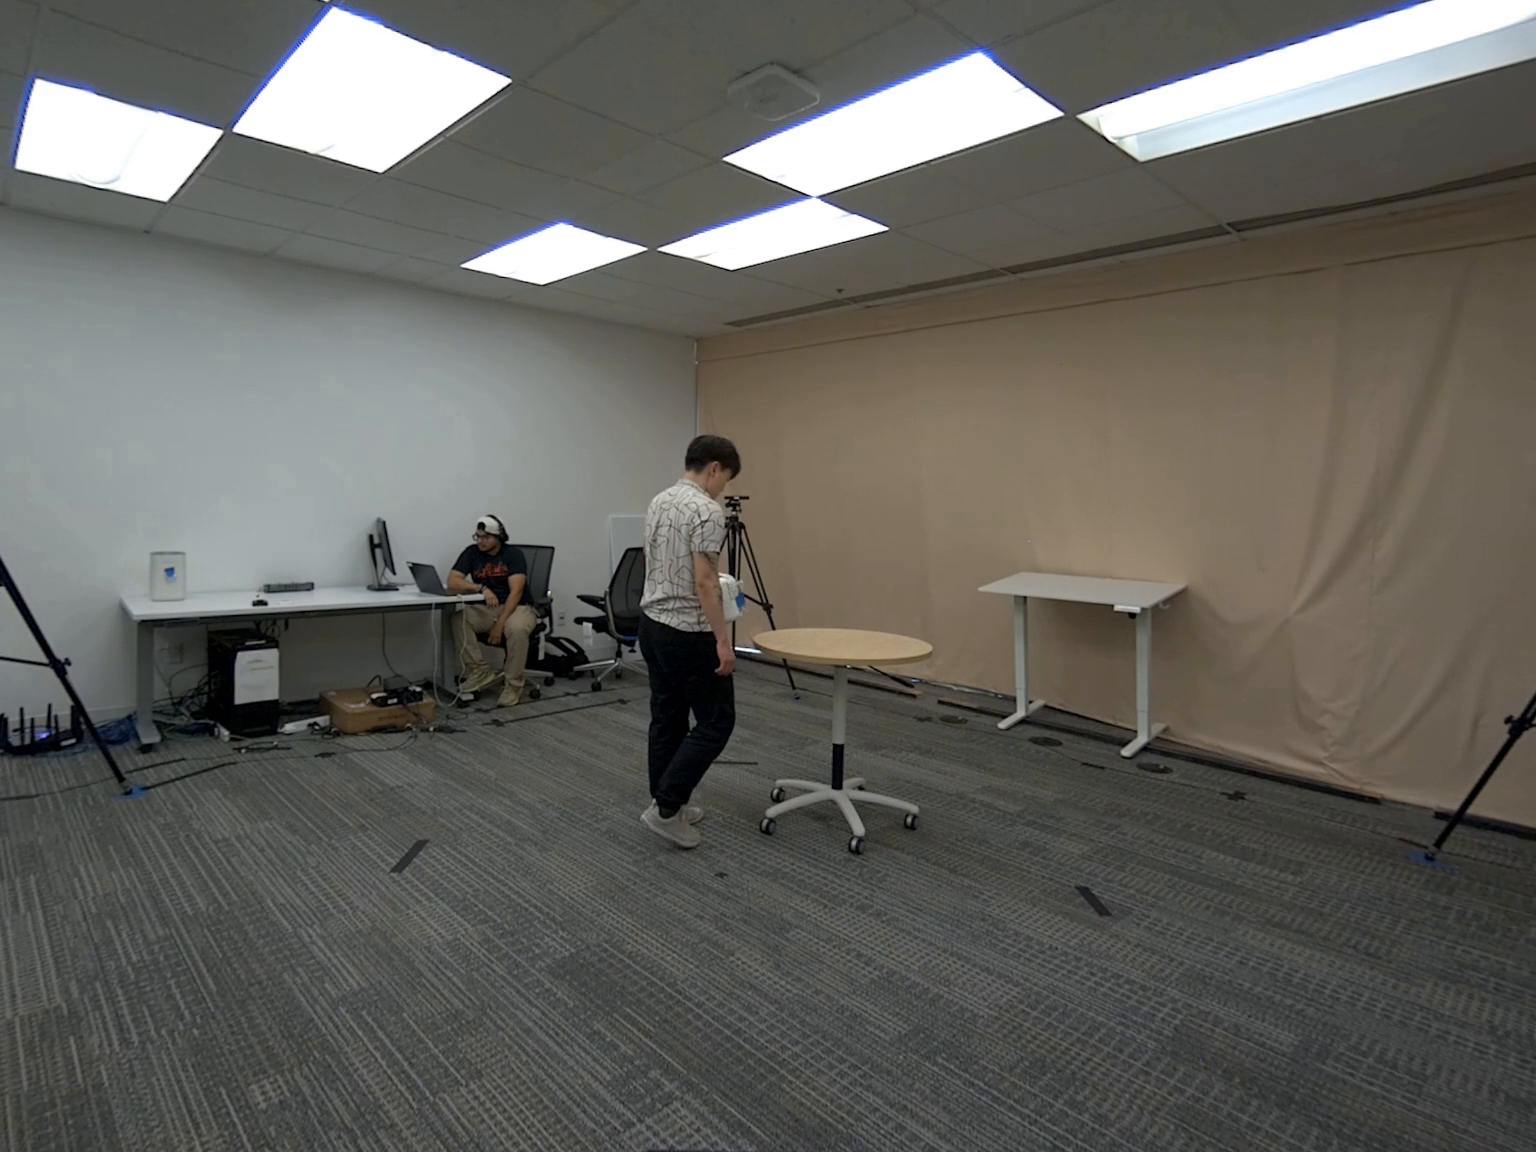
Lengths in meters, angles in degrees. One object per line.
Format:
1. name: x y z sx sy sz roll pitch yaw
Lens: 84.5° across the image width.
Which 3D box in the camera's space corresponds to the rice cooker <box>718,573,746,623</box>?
1. rice cooker: -0.247 0.099 3.790 0.224 0.231 0.215 -8 7 28
